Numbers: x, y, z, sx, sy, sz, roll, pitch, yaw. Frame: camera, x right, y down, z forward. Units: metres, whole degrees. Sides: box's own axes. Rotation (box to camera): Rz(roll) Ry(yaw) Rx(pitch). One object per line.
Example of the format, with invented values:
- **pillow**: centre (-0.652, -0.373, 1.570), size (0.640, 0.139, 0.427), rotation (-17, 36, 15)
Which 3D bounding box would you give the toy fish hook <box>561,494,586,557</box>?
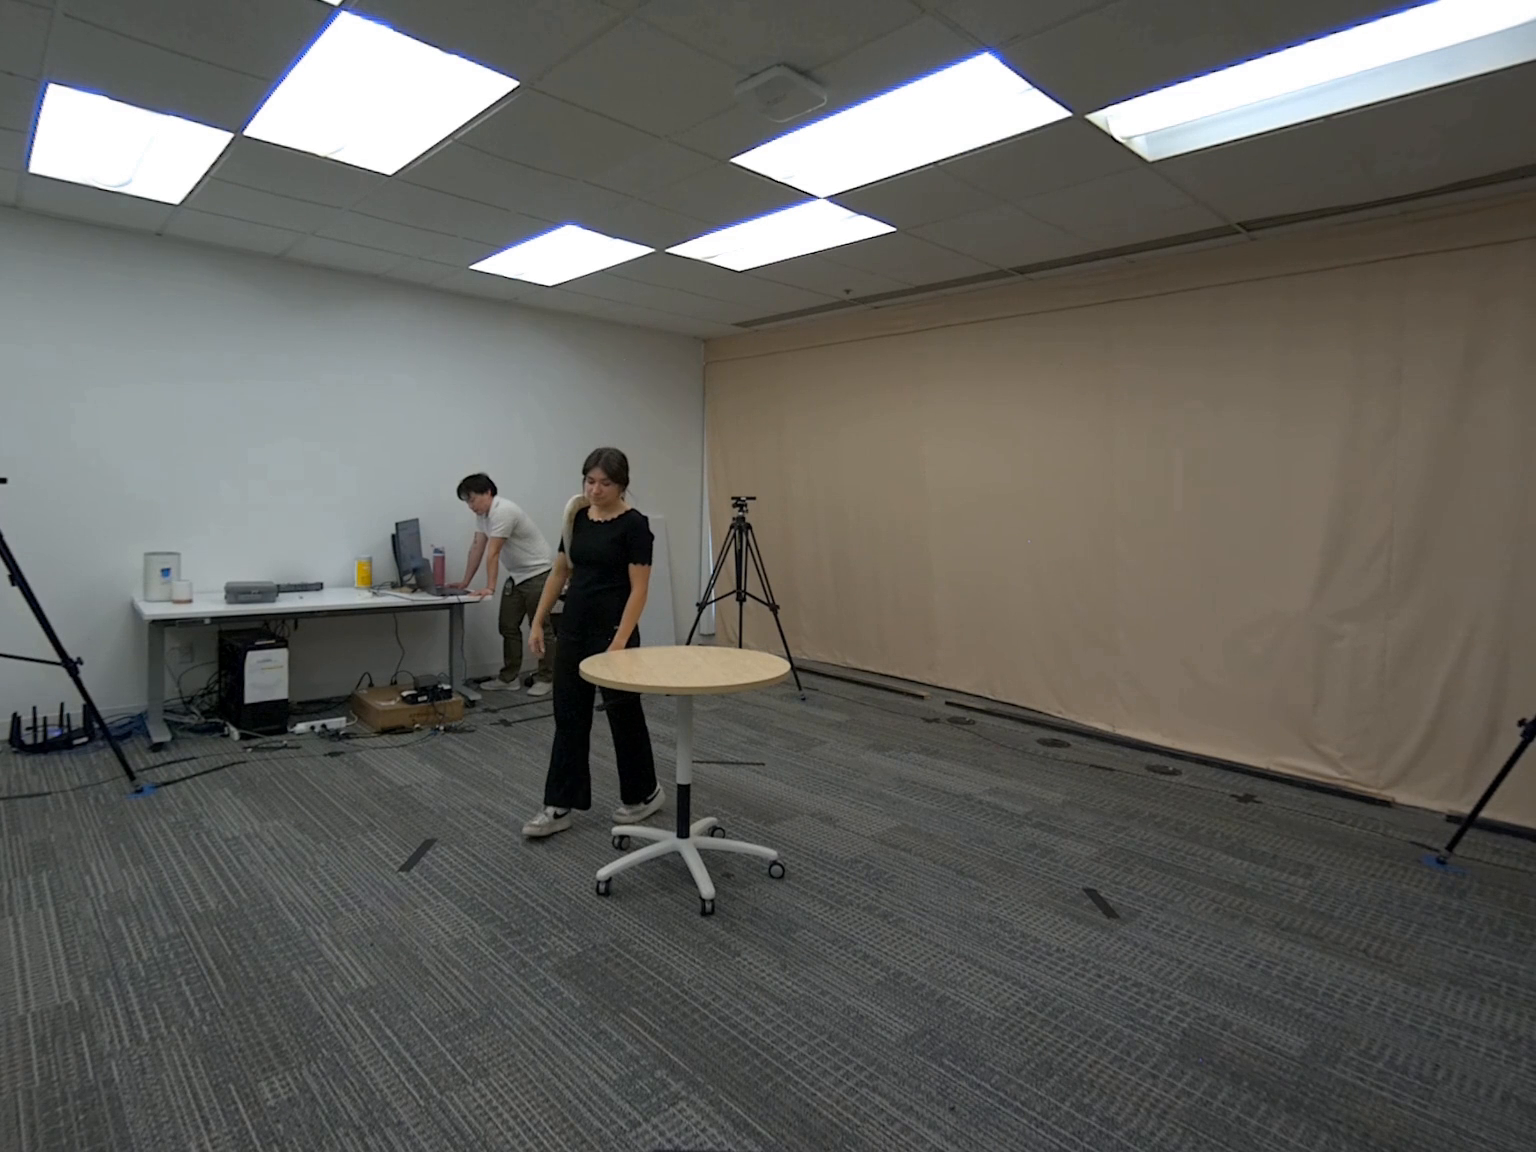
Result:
- **toy fish hook**: centre (-0.806, -0.103, 3.623), size (0.049, 0.502, 0.221), rotation (12, 13, 26)
